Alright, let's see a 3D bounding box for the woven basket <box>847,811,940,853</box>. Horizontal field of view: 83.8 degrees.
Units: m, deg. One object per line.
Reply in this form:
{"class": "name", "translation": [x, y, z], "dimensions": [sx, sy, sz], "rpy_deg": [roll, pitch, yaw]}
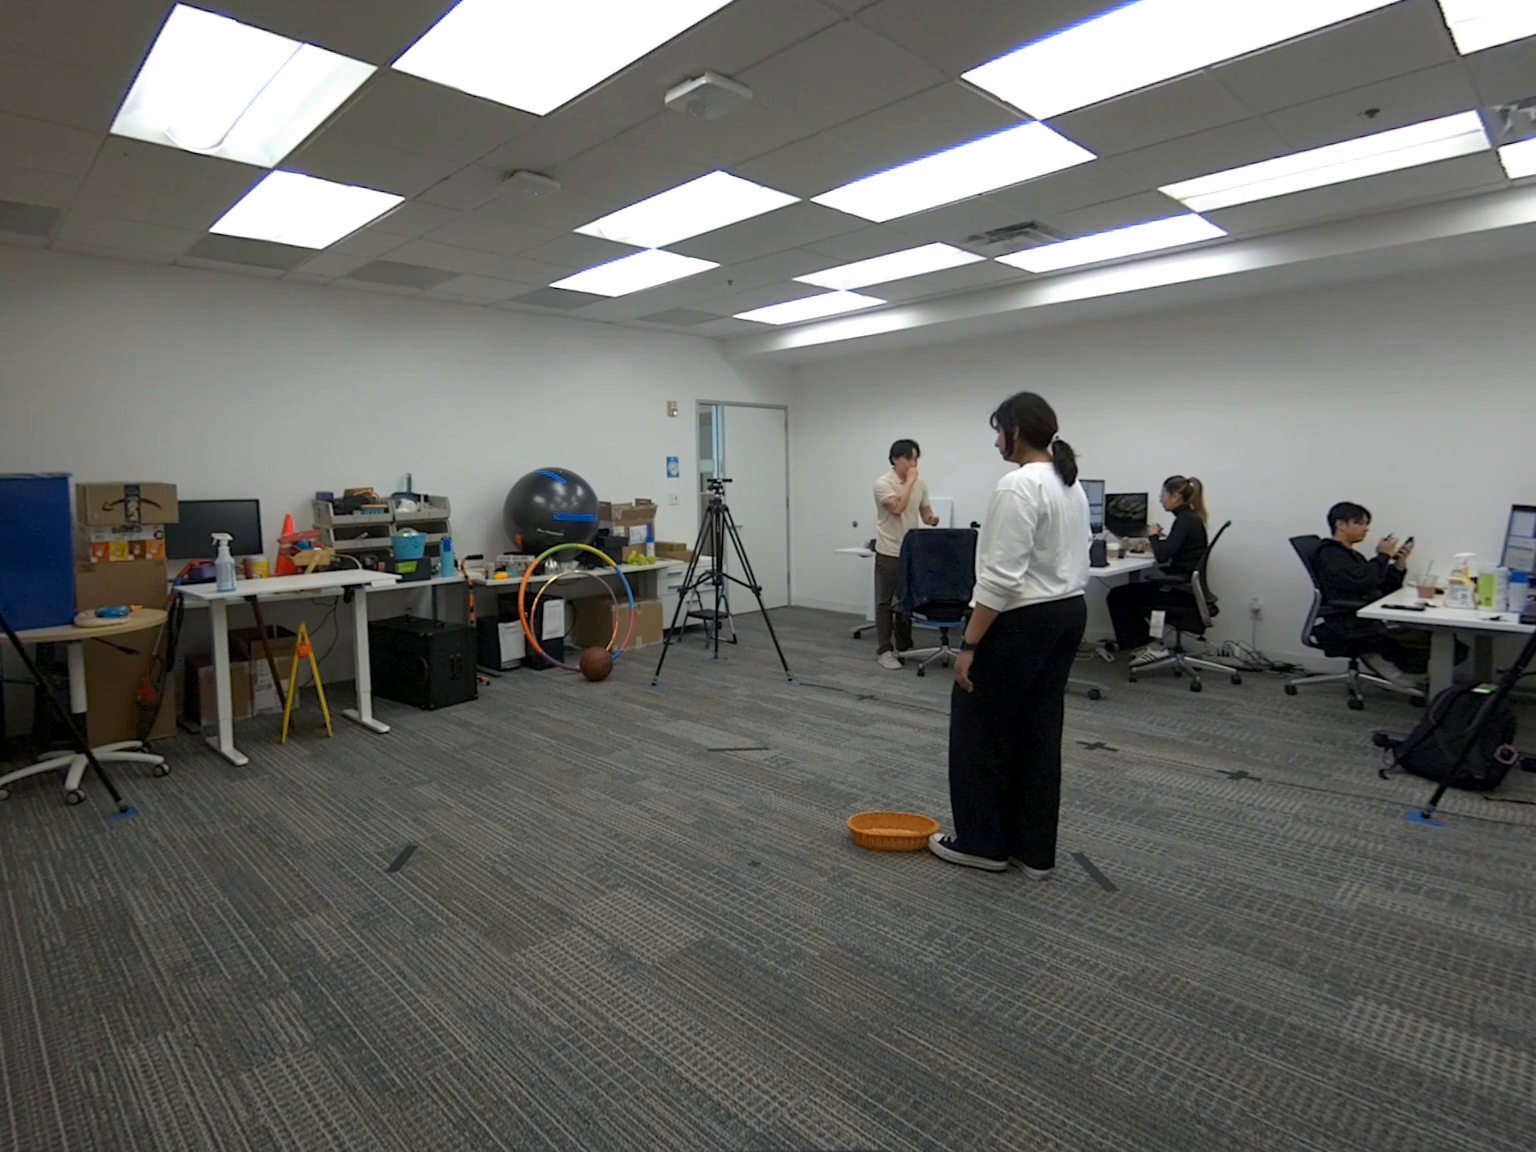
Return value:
{"class": "woven basket", "translation": [0.472, 0.978, 3.277], "dimensions": [0.354, 0.073, 0.250], "rpy_deg": [-1, 4, 10]}
